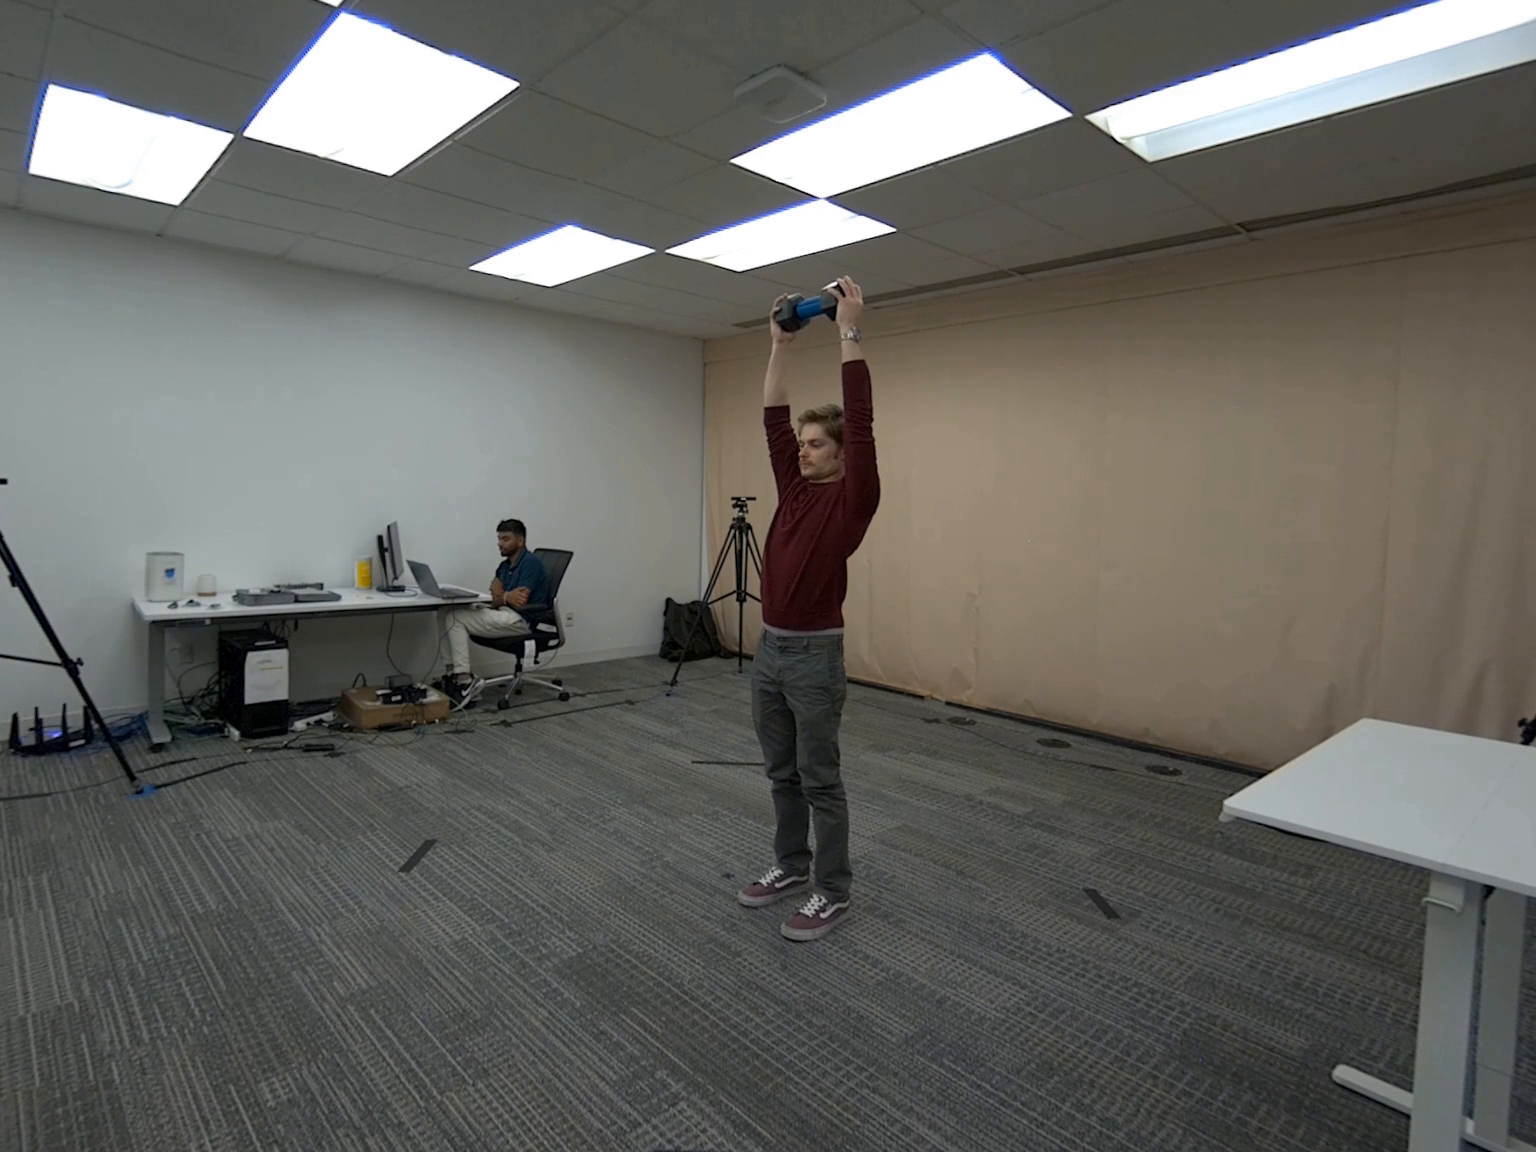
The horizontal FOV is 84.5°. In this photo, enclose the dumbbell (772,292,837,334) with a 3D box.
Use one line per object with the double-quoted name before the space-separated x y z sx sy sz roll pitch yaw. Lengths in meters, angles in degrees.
"dumbbell" 0.145 -0.881 2.761 0.106 0.123 0.300 0 2 -40
